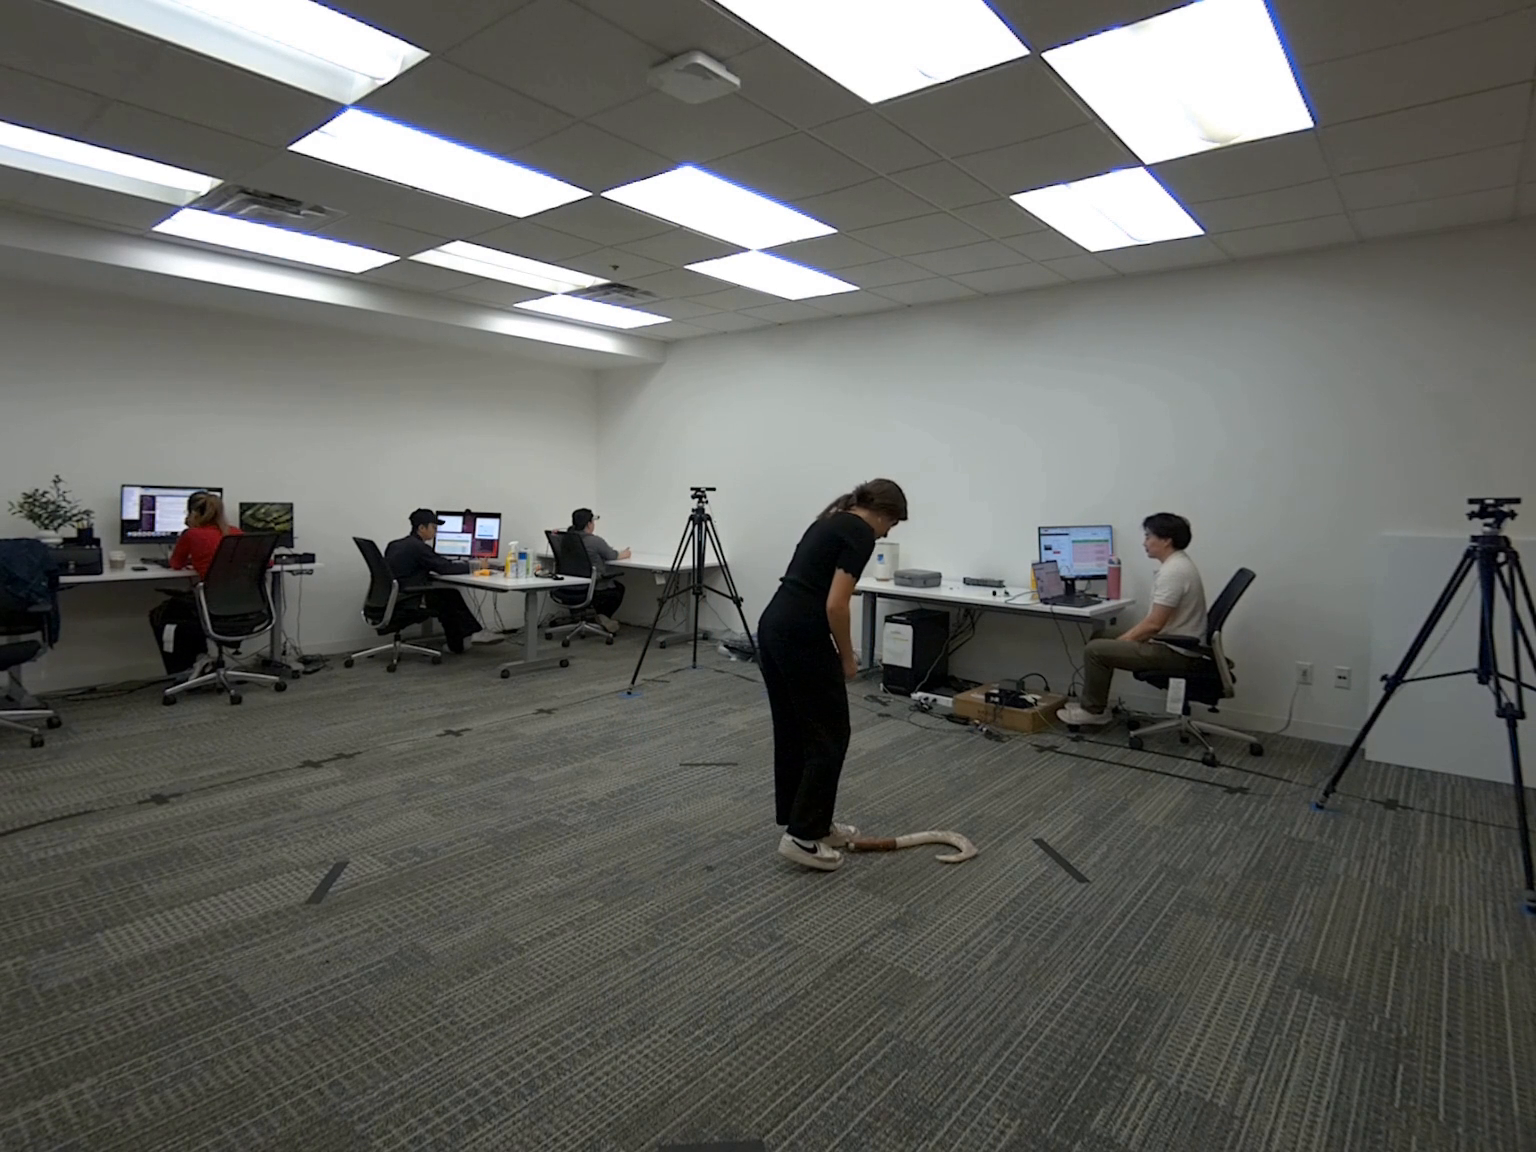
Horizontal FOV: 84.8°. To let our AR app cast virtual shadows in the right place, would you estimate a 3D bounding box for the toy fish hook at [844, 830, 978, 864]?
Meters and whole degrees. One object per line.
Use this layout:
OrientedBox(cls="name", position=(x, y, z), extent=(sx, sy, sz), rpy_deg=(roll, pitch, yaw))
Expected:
OrientedBox(cls="toy fish hook", position=(0.555, 1.048, 3.278), extent=(0.500, 0.048, 0.228), rpy_deg=(0, 5, -13))
